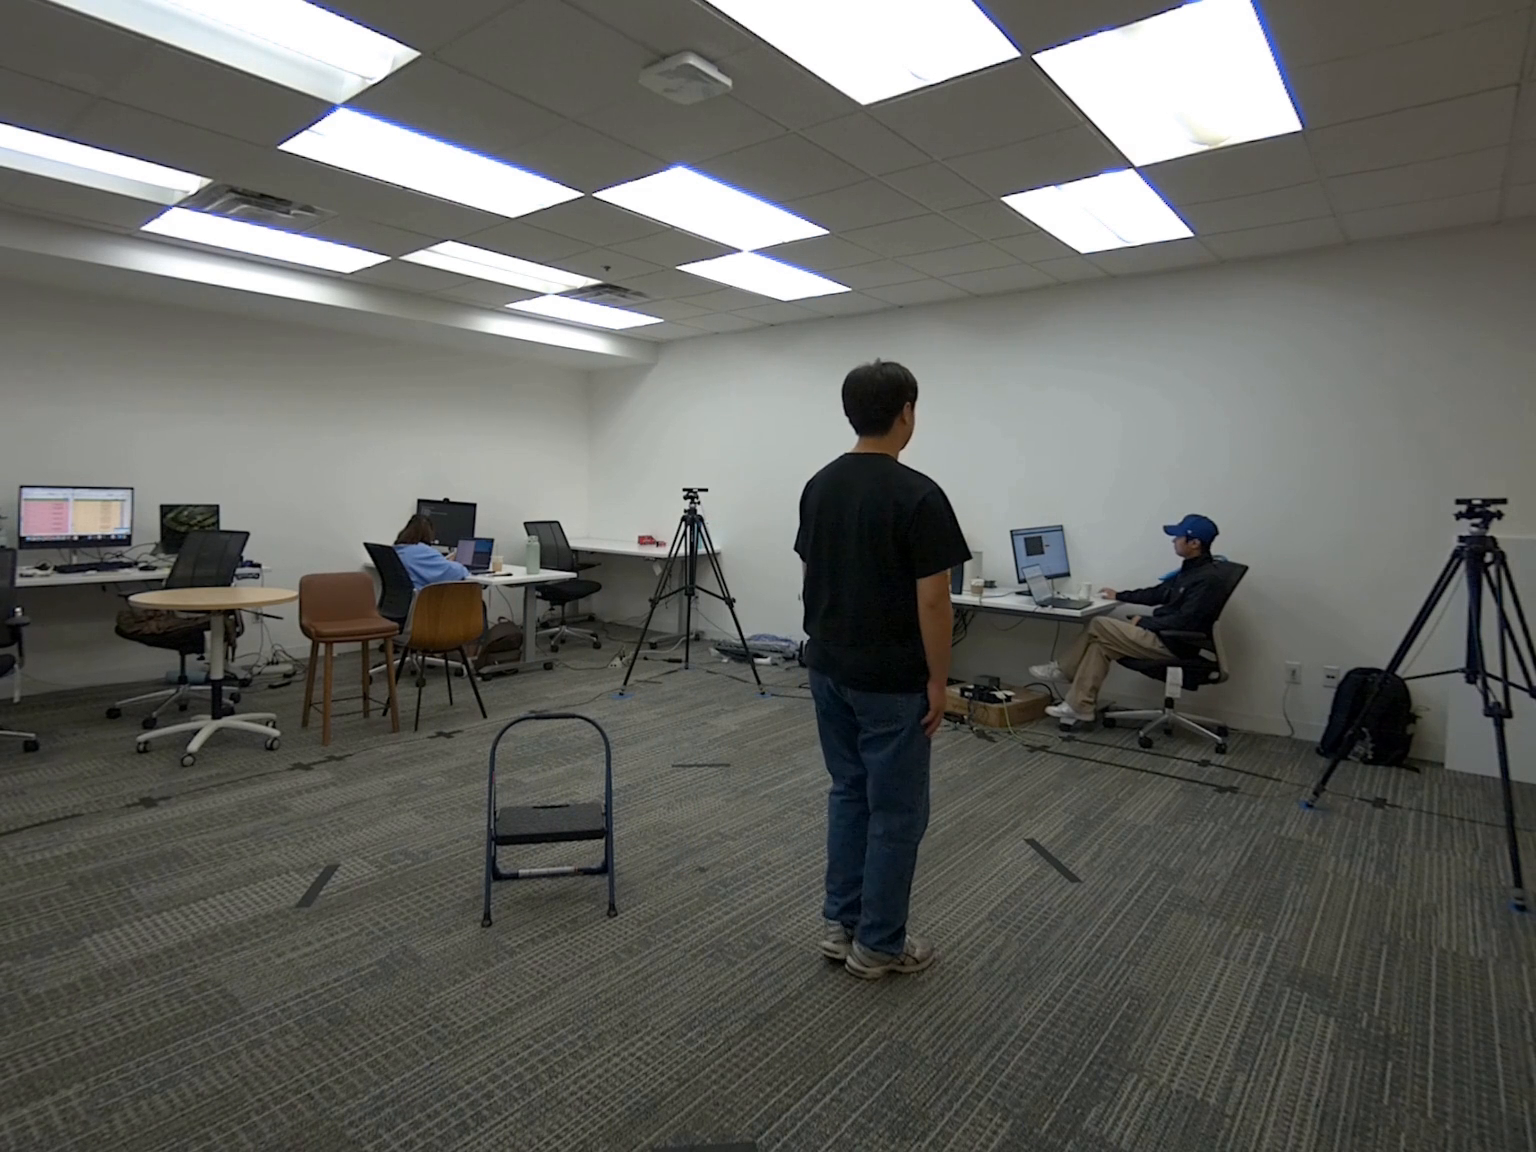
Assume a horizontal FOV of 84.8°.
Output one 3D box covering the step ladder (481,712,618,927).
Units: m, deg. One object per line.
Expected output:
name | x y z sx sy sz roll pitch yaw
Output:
step ladder | -0.741 0.785 2.870 0.425 0.604 0.355 0 4 -13
